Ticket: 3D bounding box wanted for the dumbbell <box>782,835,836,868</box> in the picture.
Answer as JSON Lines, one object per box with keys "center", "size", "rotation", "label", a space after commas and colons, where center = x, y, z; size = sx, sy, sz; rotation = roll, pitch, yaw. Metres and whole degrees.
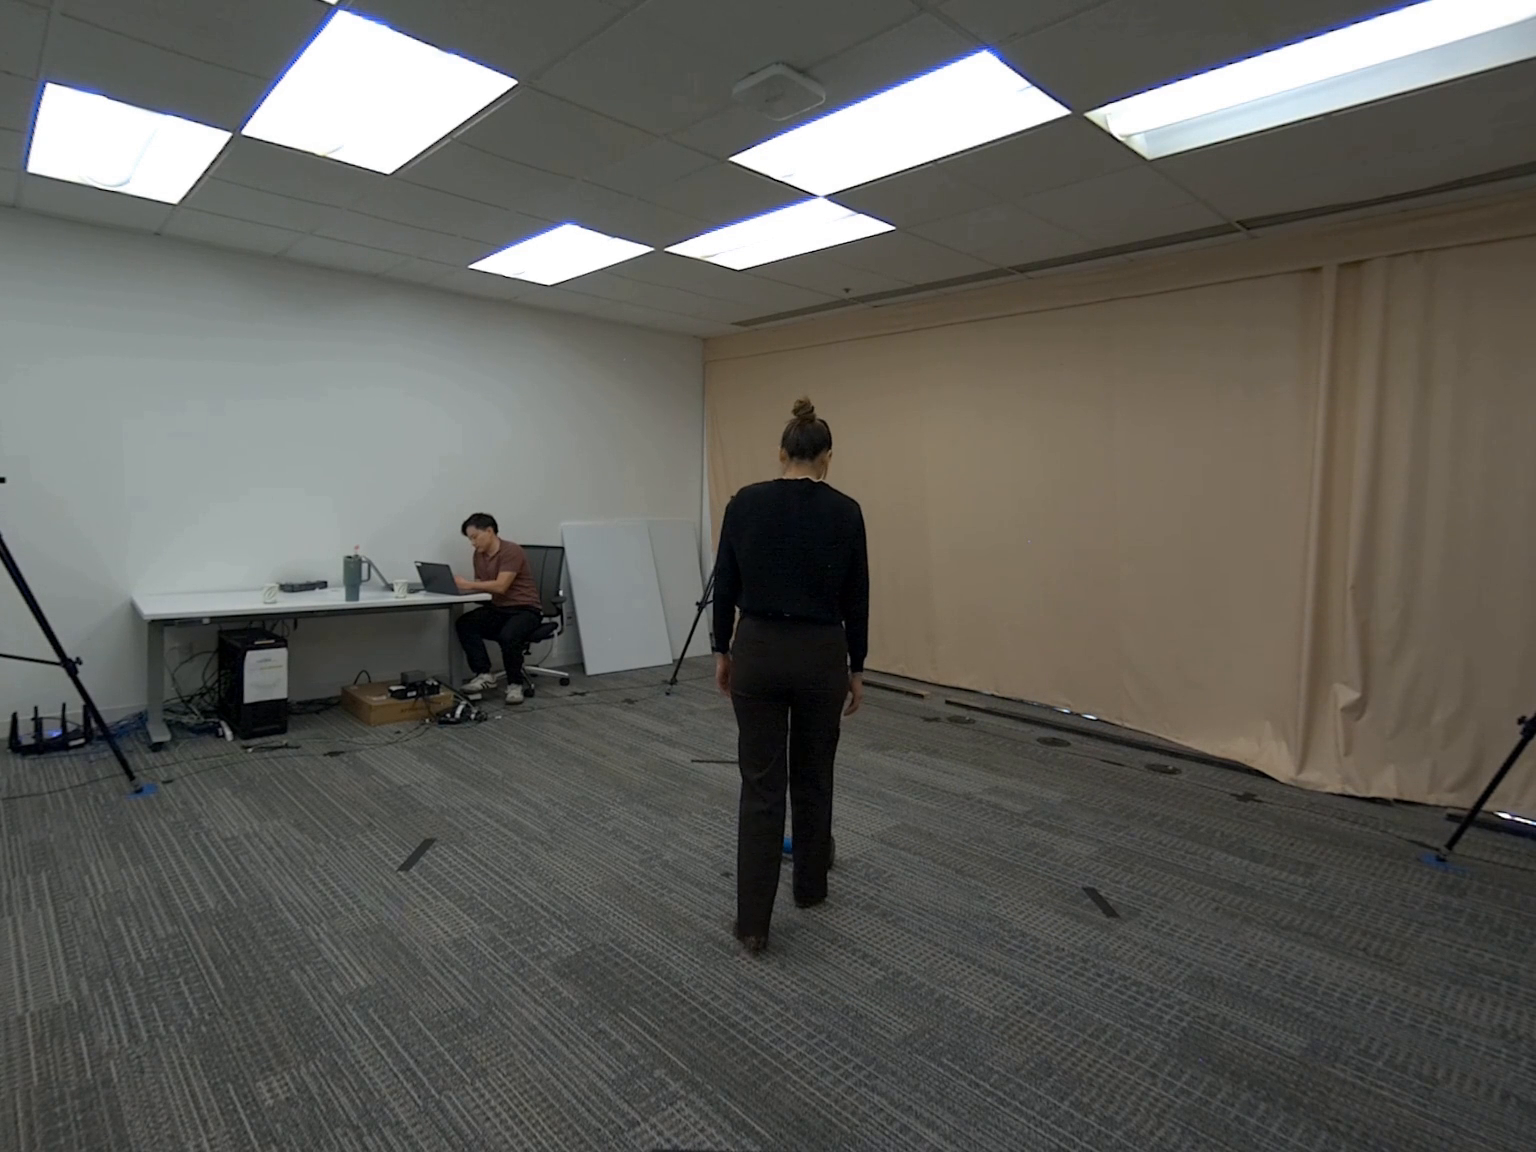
{"center": [0.105, 1.049, 3.228], "size": [0.297, 0.120, 0.110], "rotation": [2, 35, 16], "label": "dumbbell"}
